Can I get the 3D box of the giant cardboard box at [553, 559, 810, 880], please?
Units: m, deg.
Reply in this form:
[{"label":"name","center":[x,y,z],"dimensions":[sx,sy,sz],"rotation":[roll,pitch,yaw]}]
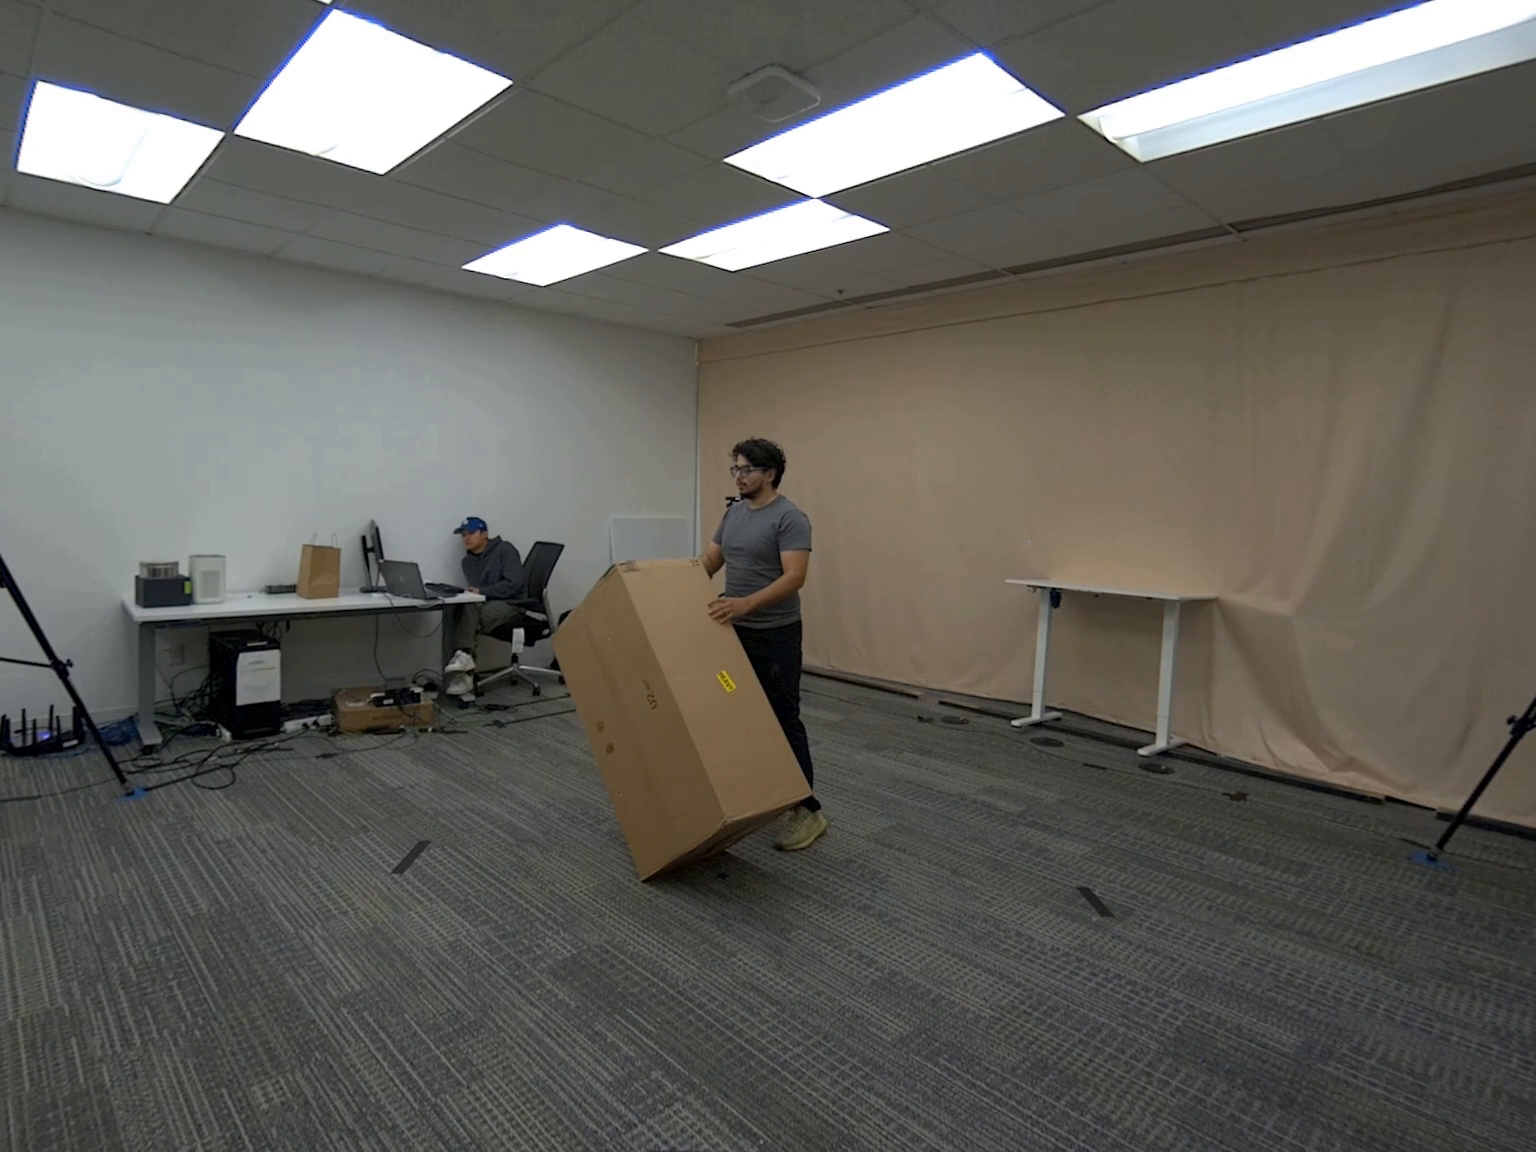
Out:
[{"label":"giant cardboard box","center":[-0.375,0.521,3.220],"dimensions":[0.416,1.049,0.578],"rotation":[-2,-33,-45]}]
